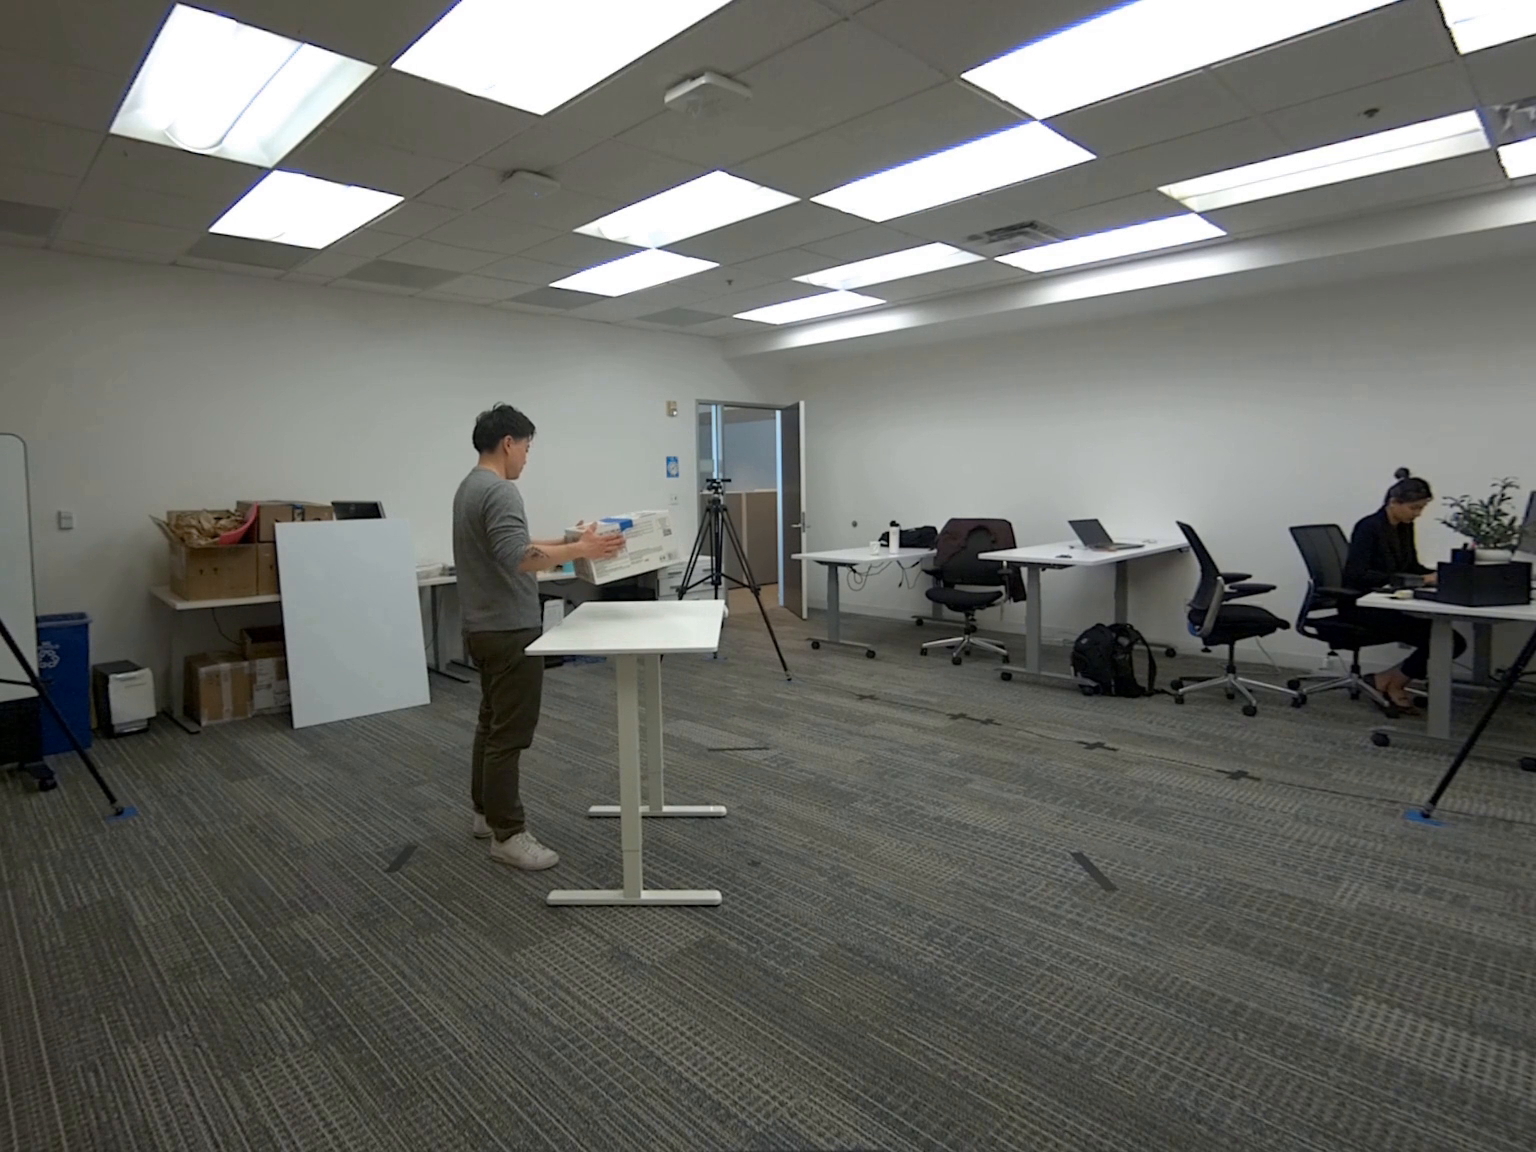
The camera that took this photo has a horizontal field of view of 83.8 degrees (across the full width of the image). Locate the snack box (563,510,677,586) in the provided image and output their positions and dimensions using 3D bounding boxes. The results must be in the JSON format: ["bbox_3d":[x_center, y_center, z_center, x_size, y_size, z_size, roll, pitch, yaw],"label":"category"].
[{"bbox_3d":[-0.579,-0.117,3.329,0.336,0.204,0.414,-16,10,-20],"label":"snack box"}]
